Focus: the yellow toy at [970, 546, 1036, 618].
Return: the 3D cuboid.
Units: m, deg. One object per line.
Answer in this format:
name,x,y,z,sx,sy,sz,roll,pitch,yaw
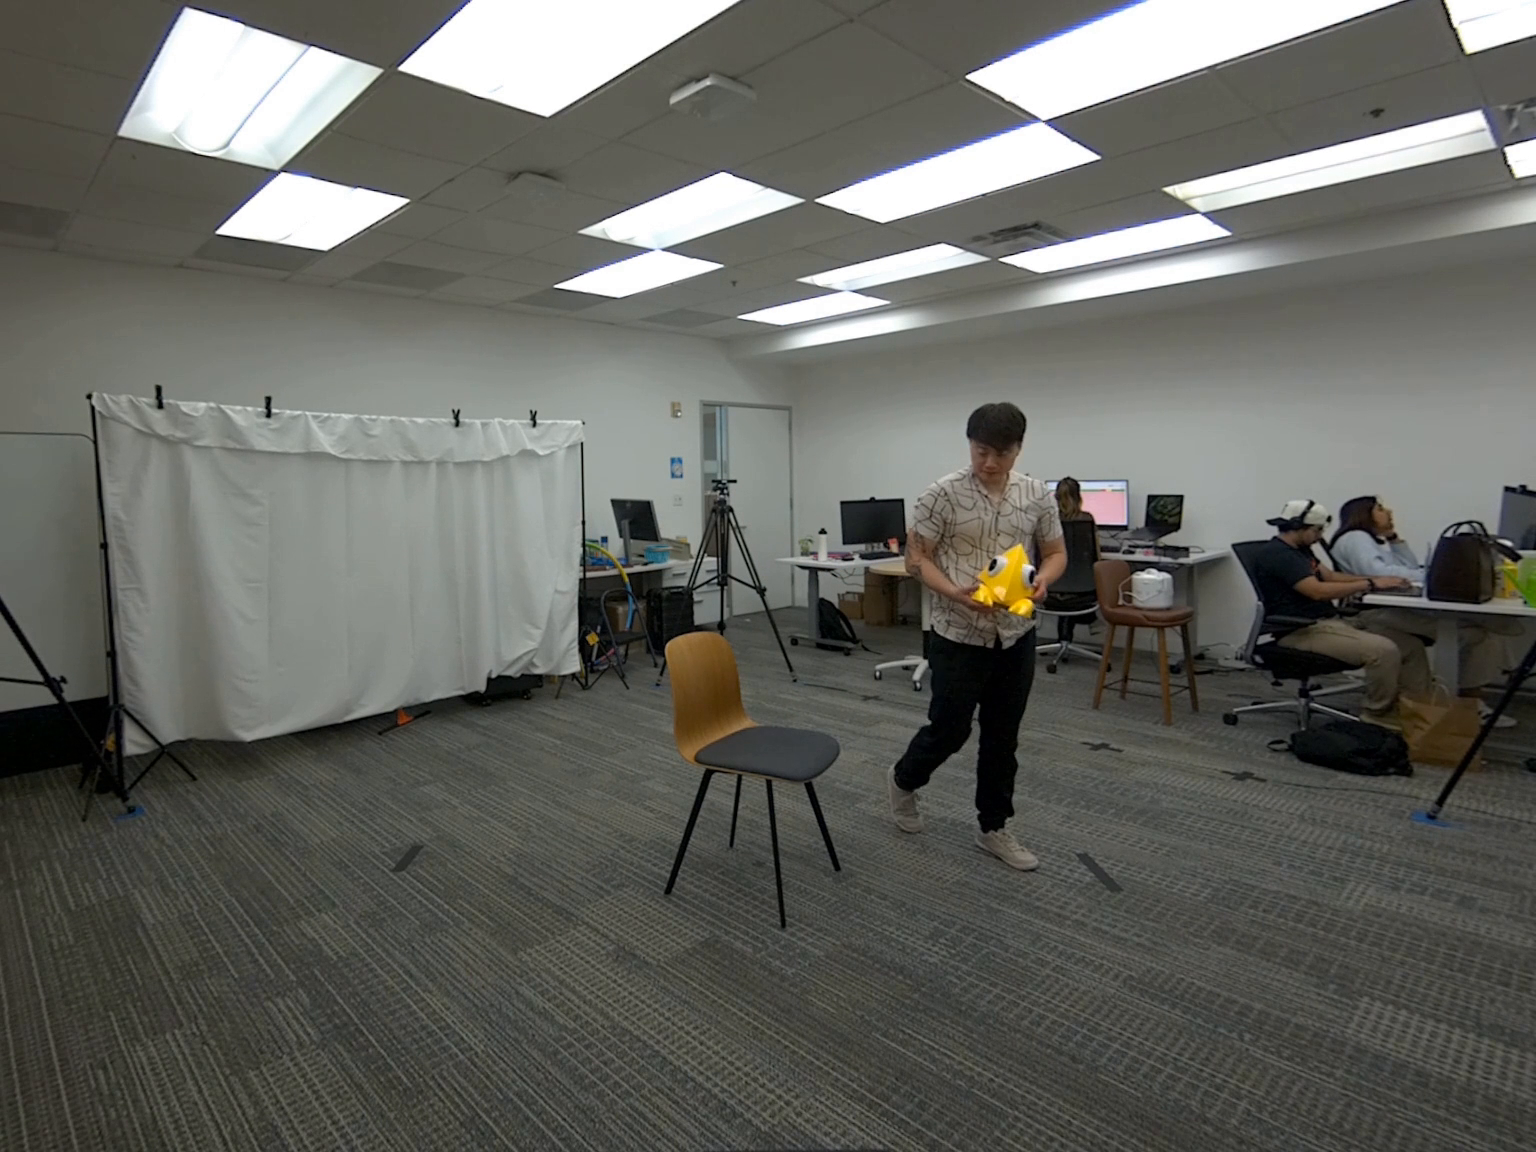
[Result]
yellow toy,0.804,-0.002,2.864,0.209,0.230,0.189,19,2,15
